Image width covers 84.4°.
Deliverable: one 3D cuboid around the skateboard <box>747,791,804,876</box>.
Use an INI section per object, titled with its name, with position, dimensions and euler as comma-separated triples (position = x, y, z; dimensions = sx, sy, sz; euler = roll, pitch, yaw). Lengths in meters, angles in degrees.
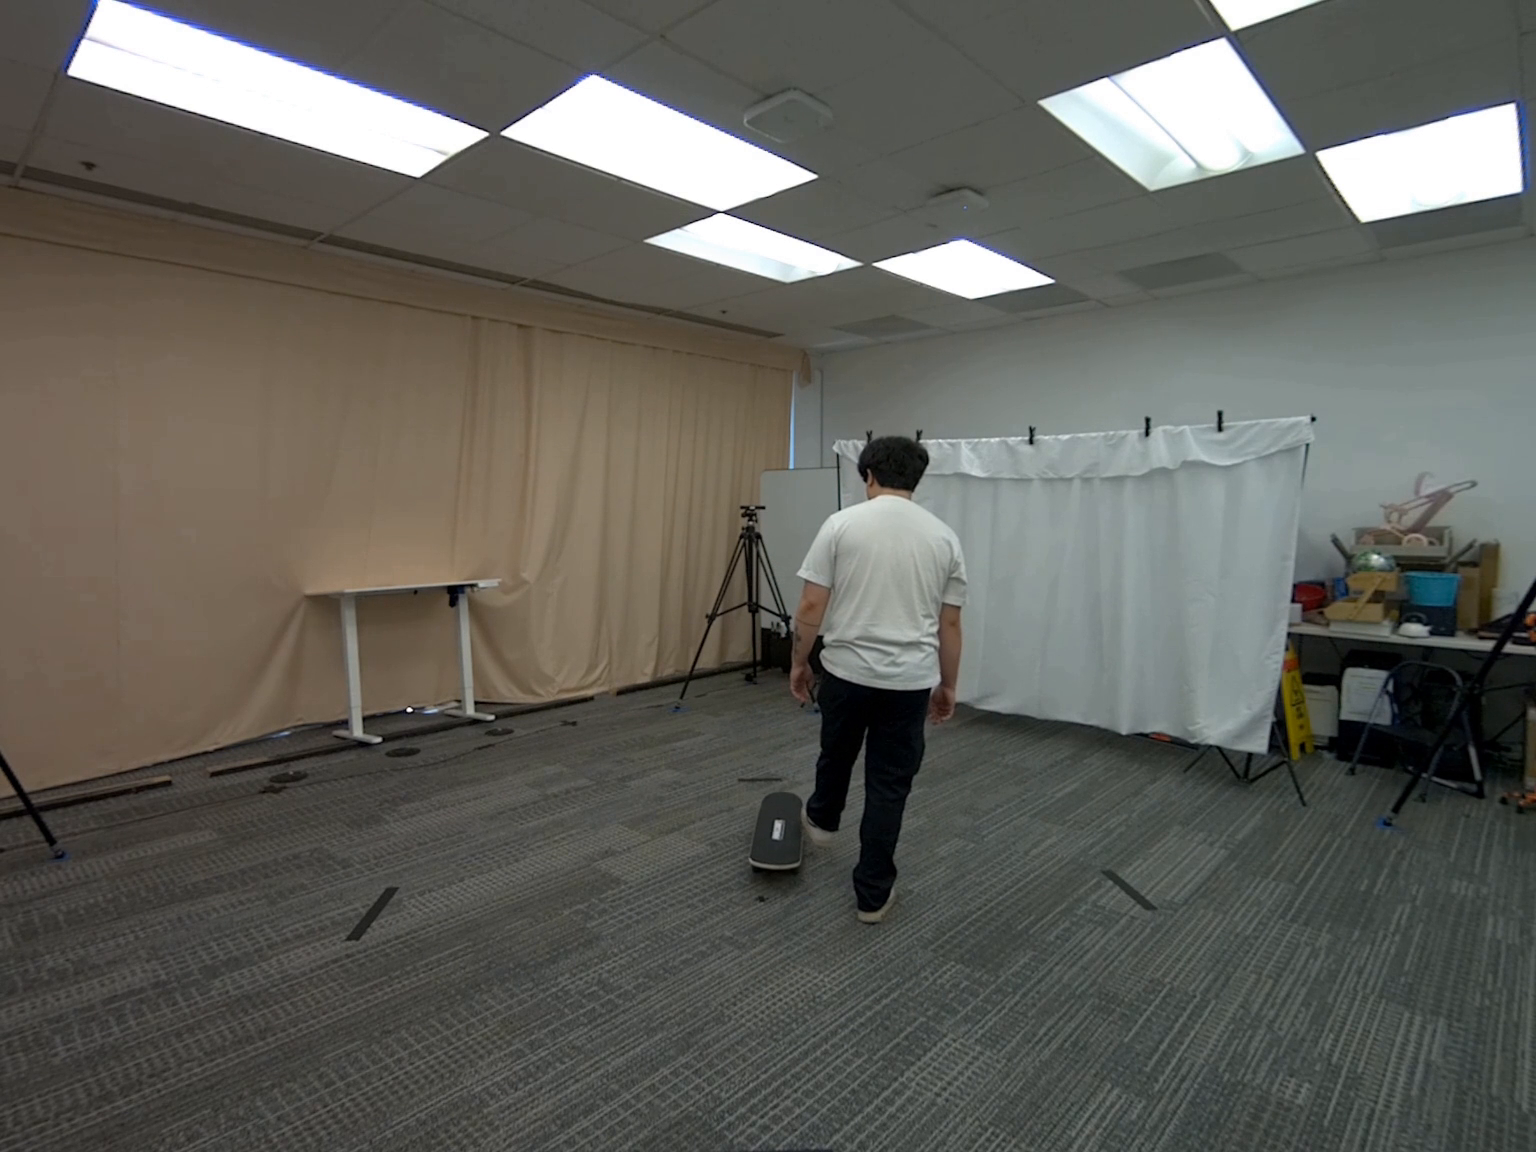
[skateboard]
position = 0.045, 1.051, 3.388
dimensions = 0.194, 0.110, 0.782
euler = 0, 5, 4
